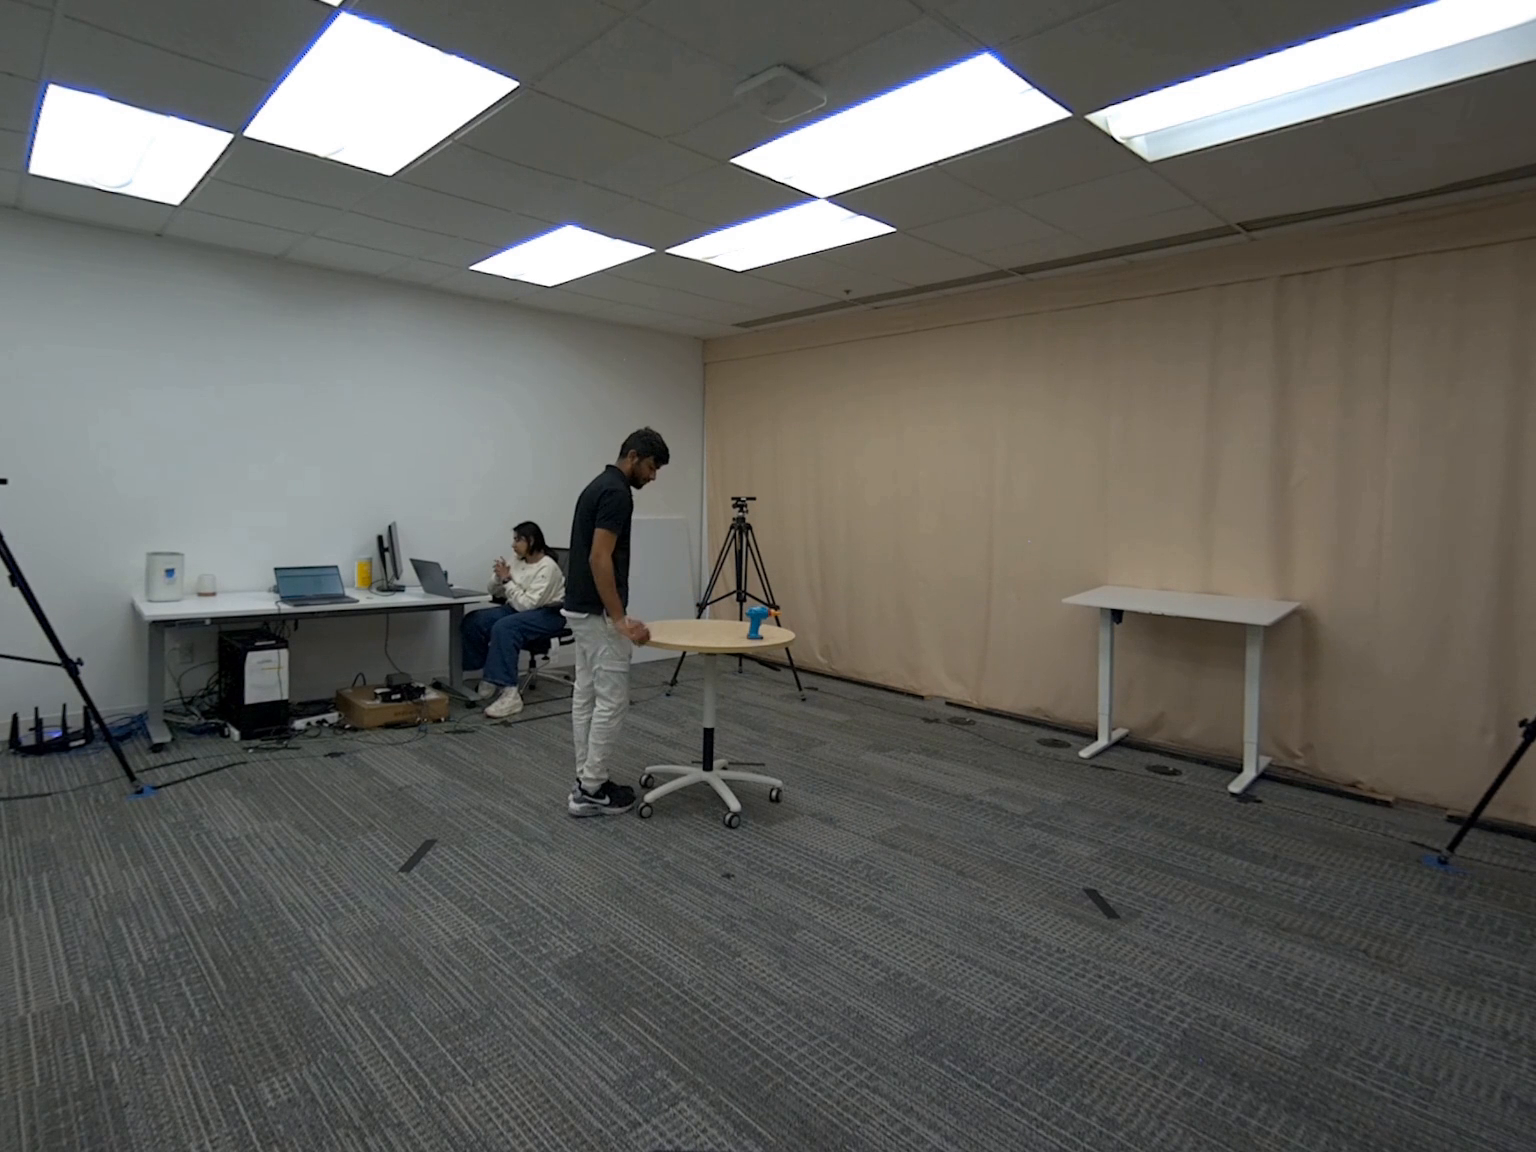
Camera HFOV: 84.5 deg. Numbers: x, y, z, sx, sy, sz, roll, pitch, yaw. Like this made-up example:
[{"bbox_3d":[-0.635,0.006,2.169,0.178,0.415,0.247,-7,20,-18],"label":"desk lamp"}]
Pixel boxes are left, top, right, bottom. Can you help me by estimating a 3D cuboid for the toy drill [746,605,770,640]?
[{"bbox_3d":[-0.031,0.202,3.699,0.167,0.146,0.062,0,4,-20],"label":"toy drill"}]
